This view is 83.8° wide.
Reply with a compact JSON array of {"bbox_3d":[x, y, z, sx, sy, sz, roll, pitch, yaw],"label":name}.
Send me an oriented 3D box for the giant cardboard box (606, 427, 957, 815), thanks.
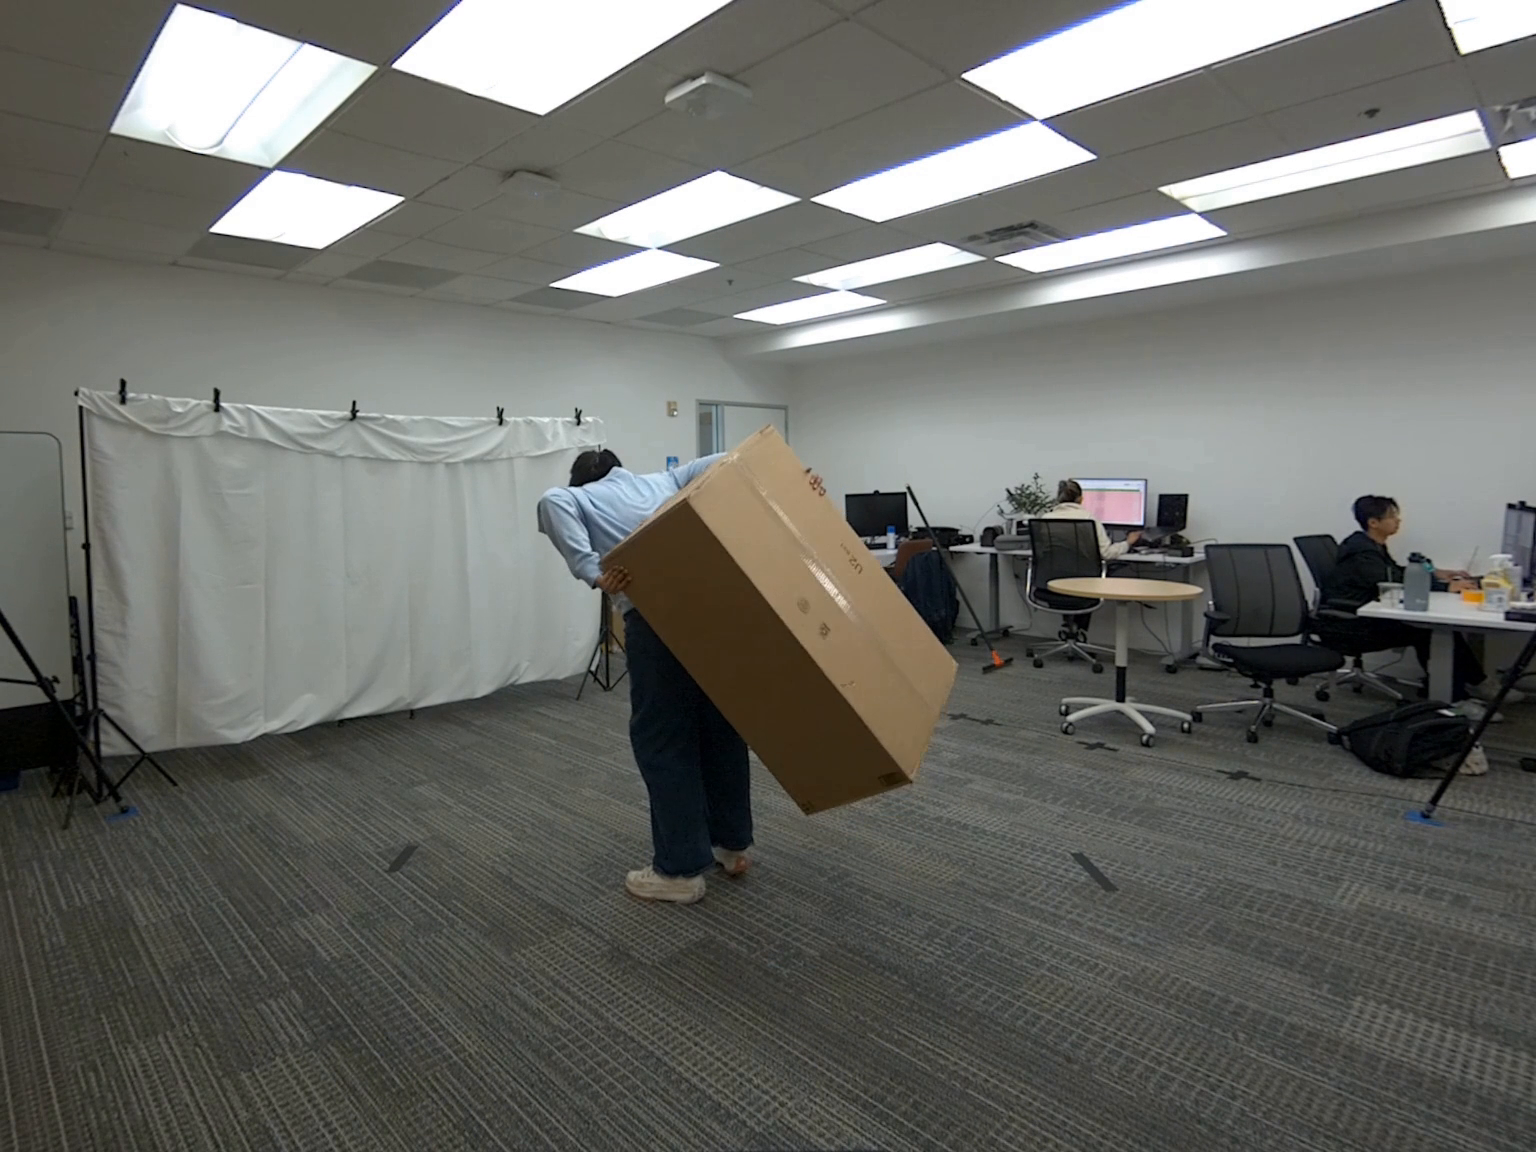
[{"bbox_3d":[0.066,0.135,2.683,0.430,1.017,0.577,-33,9,38],"label":"giant cardboard box"}]
